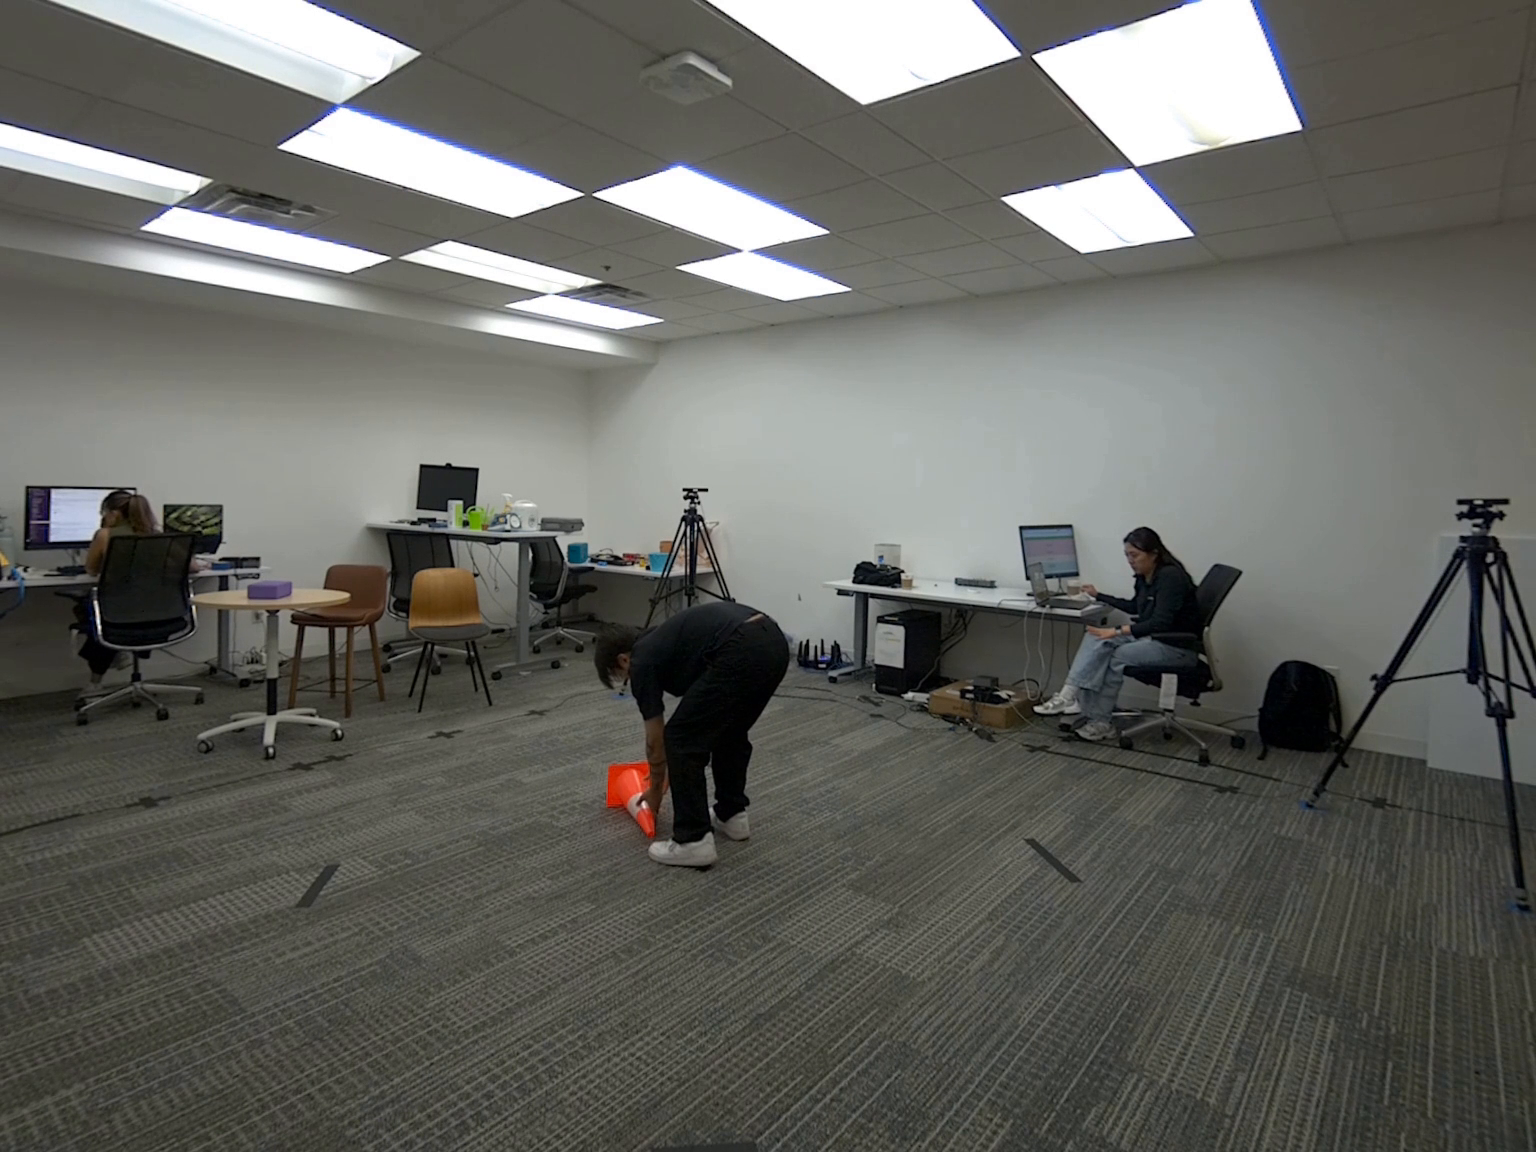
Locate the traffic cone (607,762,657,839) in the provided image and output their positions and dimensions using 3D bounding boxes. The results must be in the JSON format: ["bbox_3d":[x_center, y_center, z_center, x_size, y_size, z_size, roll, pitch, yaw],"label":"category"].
[{"bbox_3d":[-0.545,0.965,3.556,0.199,0.202,0.396,-1,16,-22],"label":"traffic cone"}]
